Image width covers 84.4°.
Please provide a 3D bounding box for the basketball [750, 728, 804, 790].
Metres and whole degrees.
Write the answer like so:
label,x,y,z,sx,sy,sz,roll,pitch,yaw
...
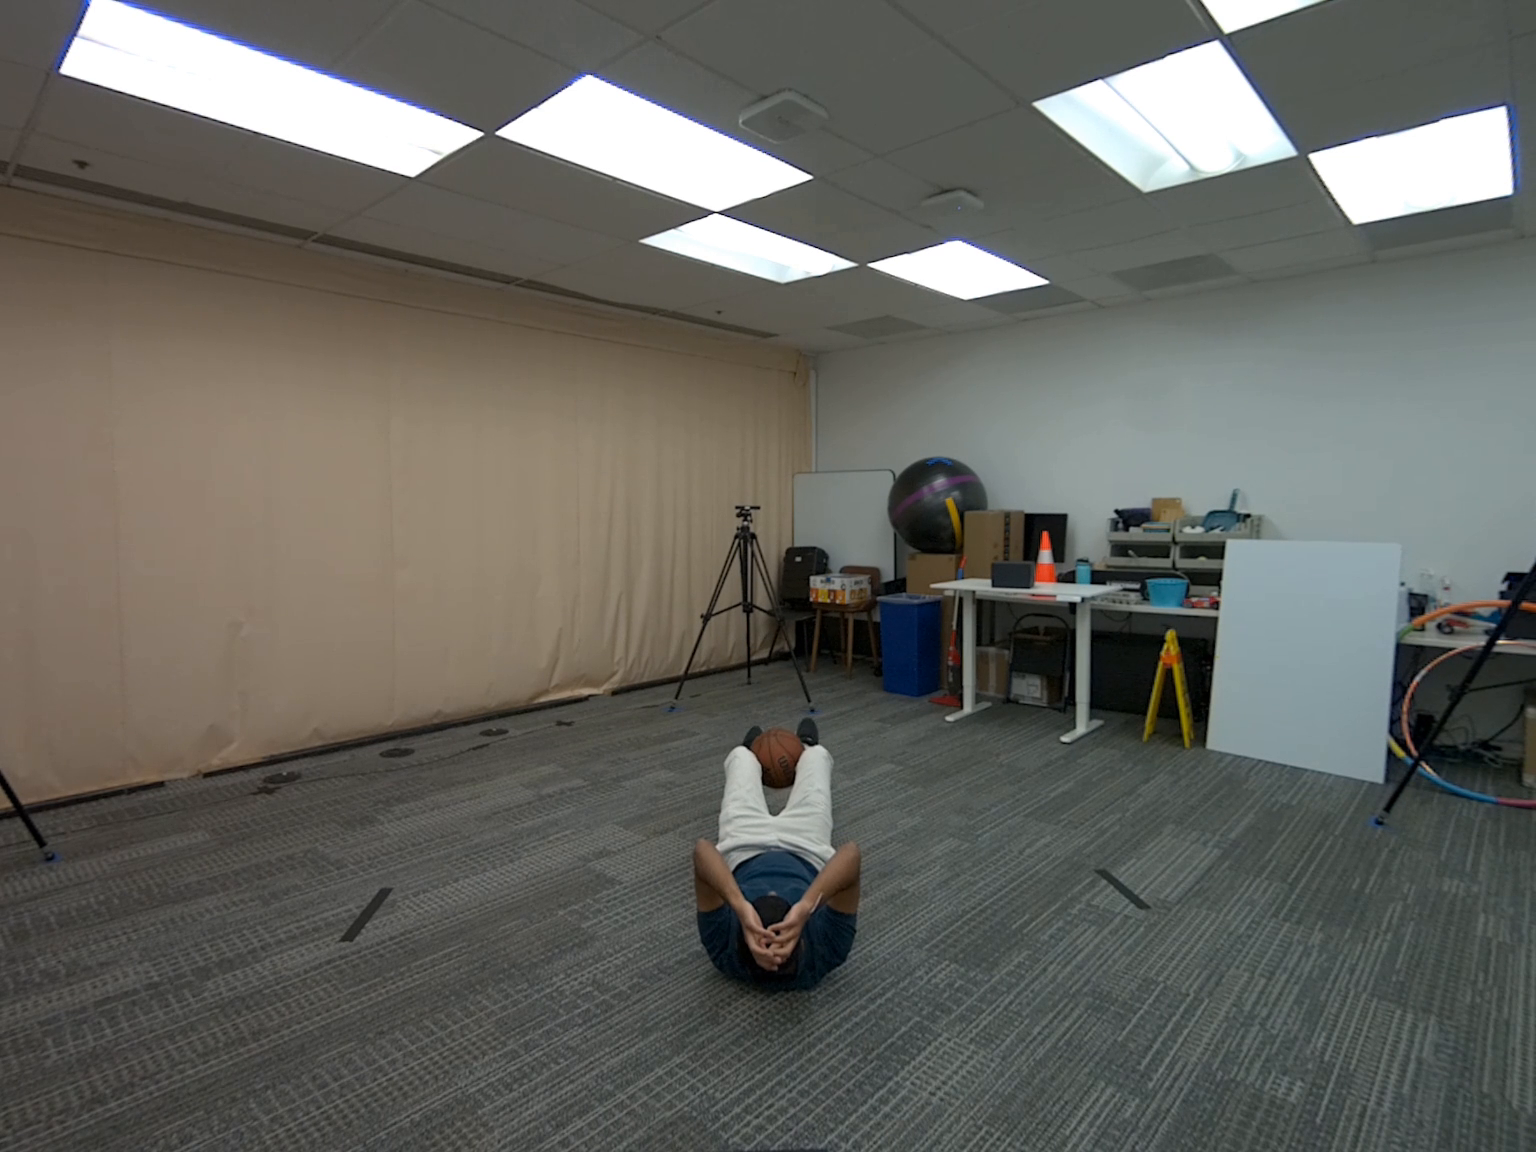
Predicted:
label,x,y,z,sx,sy,sz,roll,pitch,yaw
basketball,0.043,0.742,3.427,0.236,0.235,0.237,0,4,-2
